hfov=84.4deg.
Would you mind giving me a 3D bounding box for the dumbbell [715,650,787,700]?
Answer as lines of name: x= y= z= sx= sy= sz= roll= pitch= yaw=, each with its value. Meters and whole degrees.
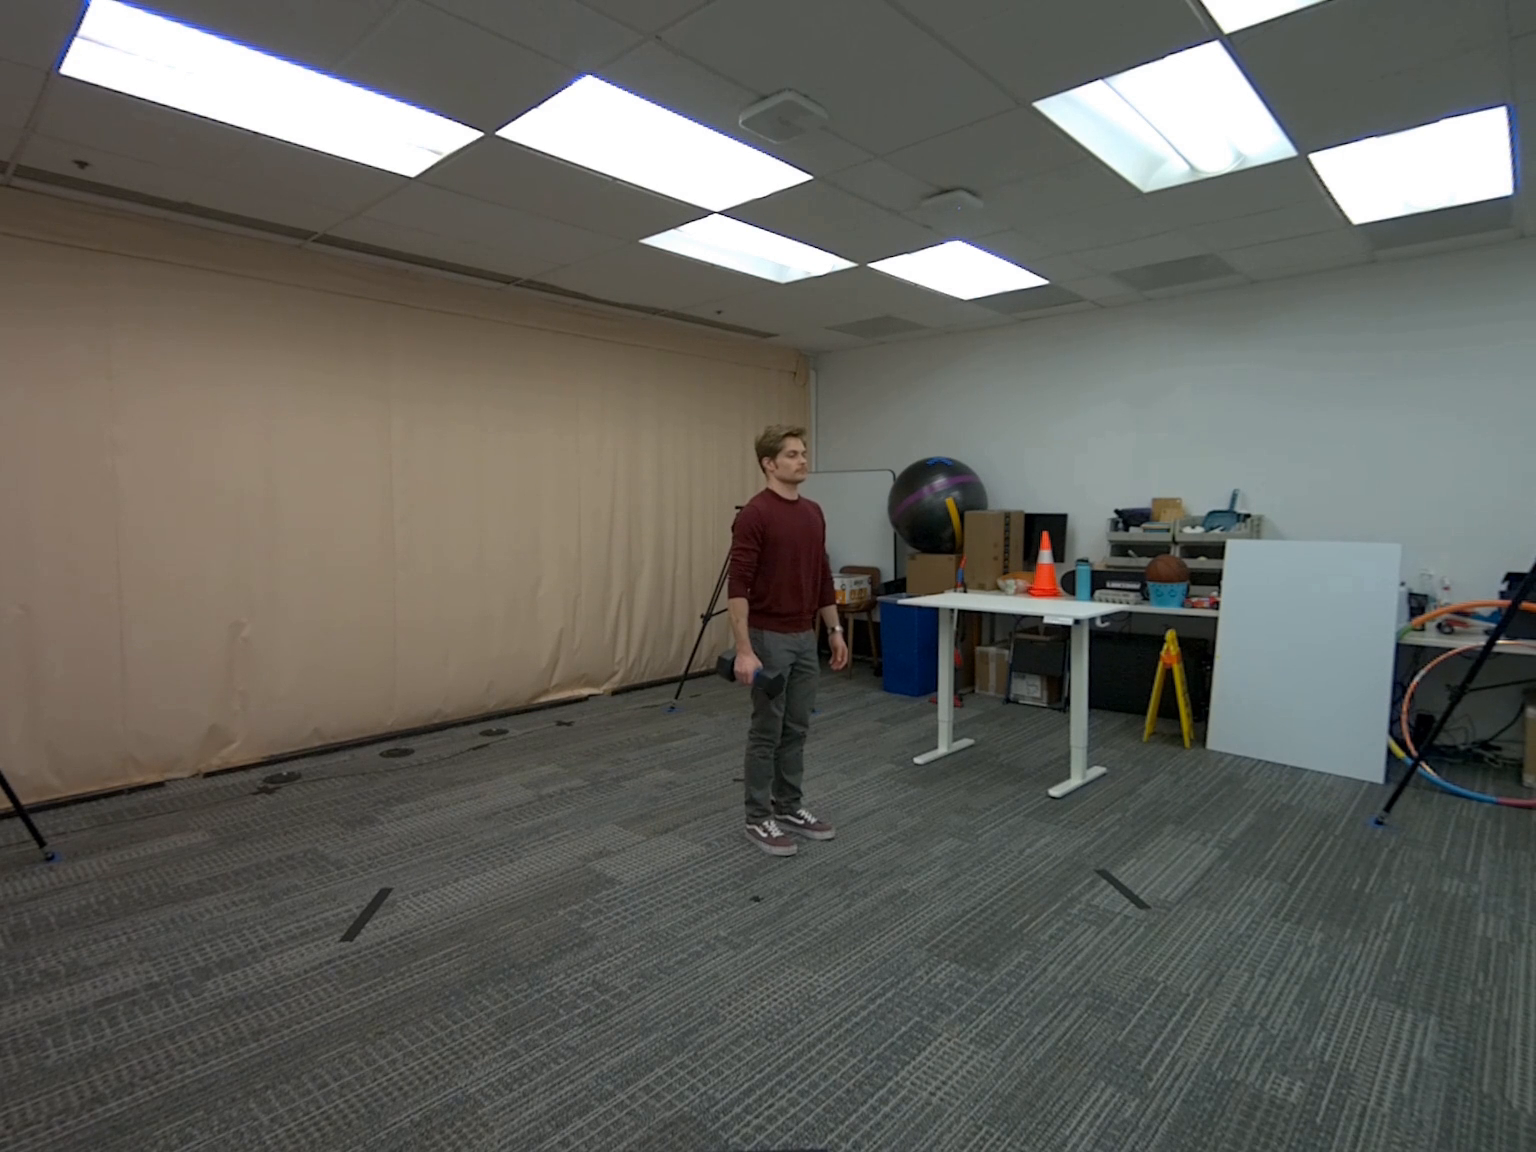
dumbbell: x=-0.058 y=0.381 z=3.290 sx=0.304 sy=0.123 sz=0.105 roll=17 pitch=5 yaw=42
